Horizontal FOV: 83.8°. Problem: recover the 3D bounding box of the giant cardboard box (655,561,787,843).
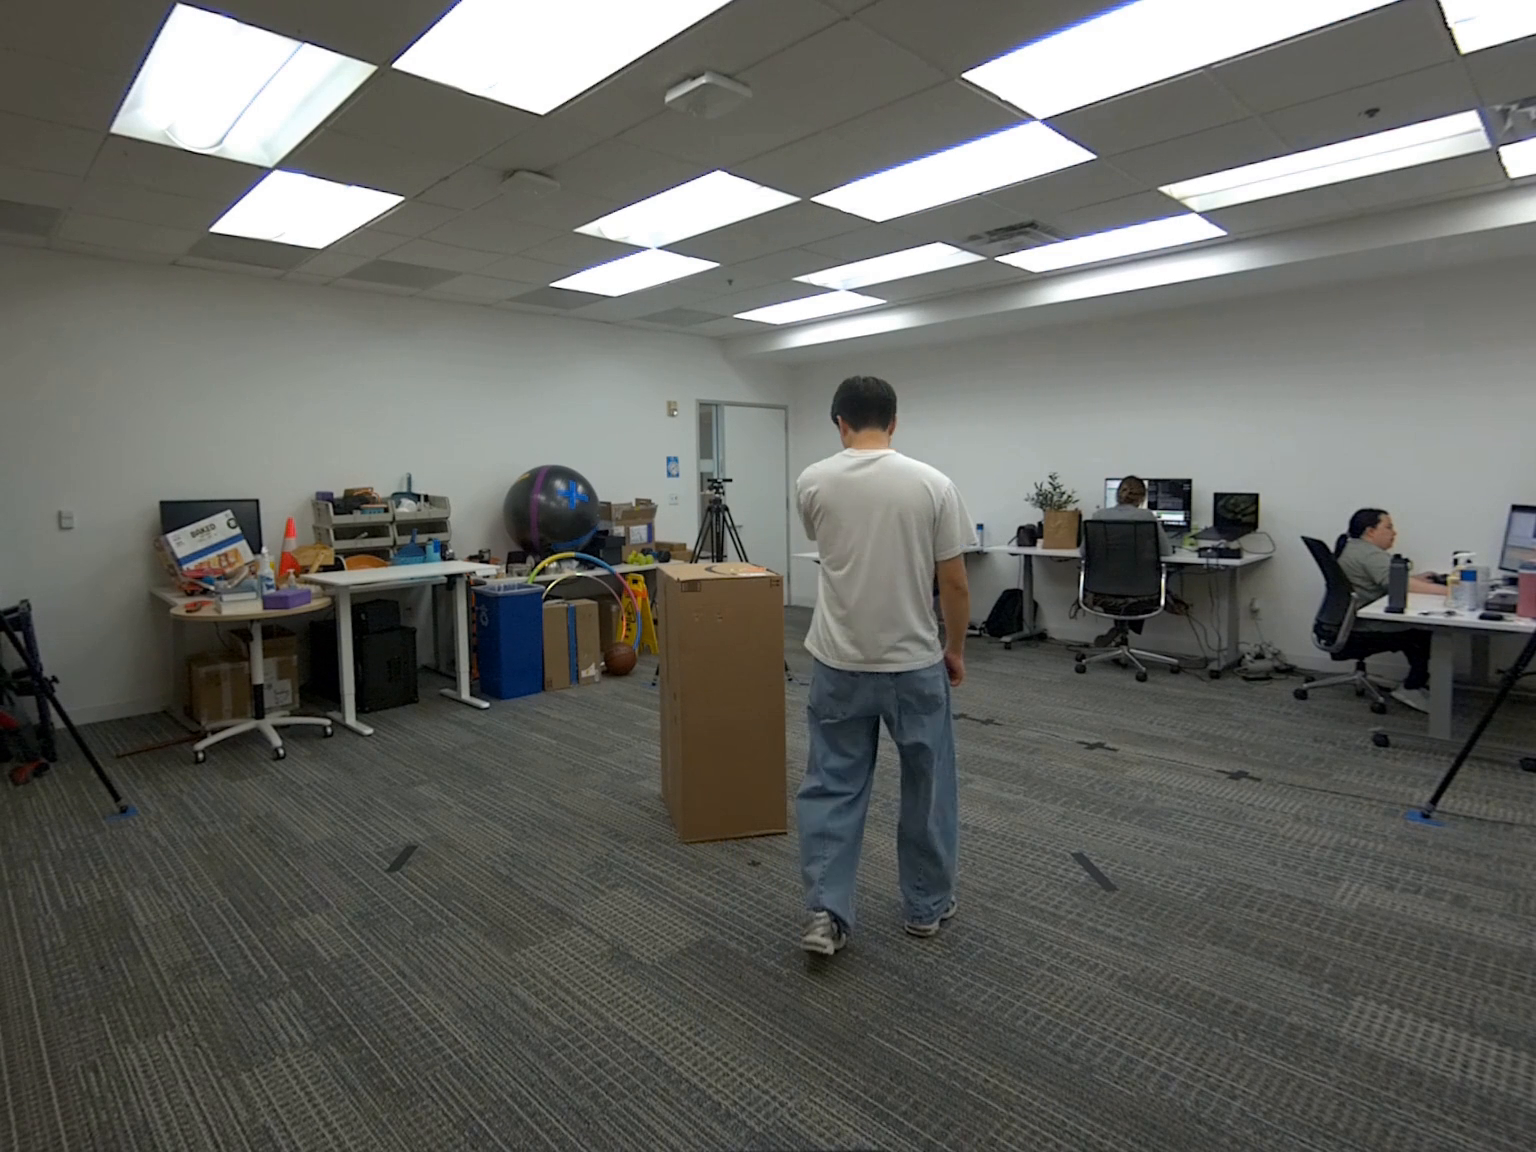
[{"bbox_3d":[-0.208,0.486,3.571,0.420,1.023,0.587,-2,4,-15],"label":"giant cardboard box"}]
